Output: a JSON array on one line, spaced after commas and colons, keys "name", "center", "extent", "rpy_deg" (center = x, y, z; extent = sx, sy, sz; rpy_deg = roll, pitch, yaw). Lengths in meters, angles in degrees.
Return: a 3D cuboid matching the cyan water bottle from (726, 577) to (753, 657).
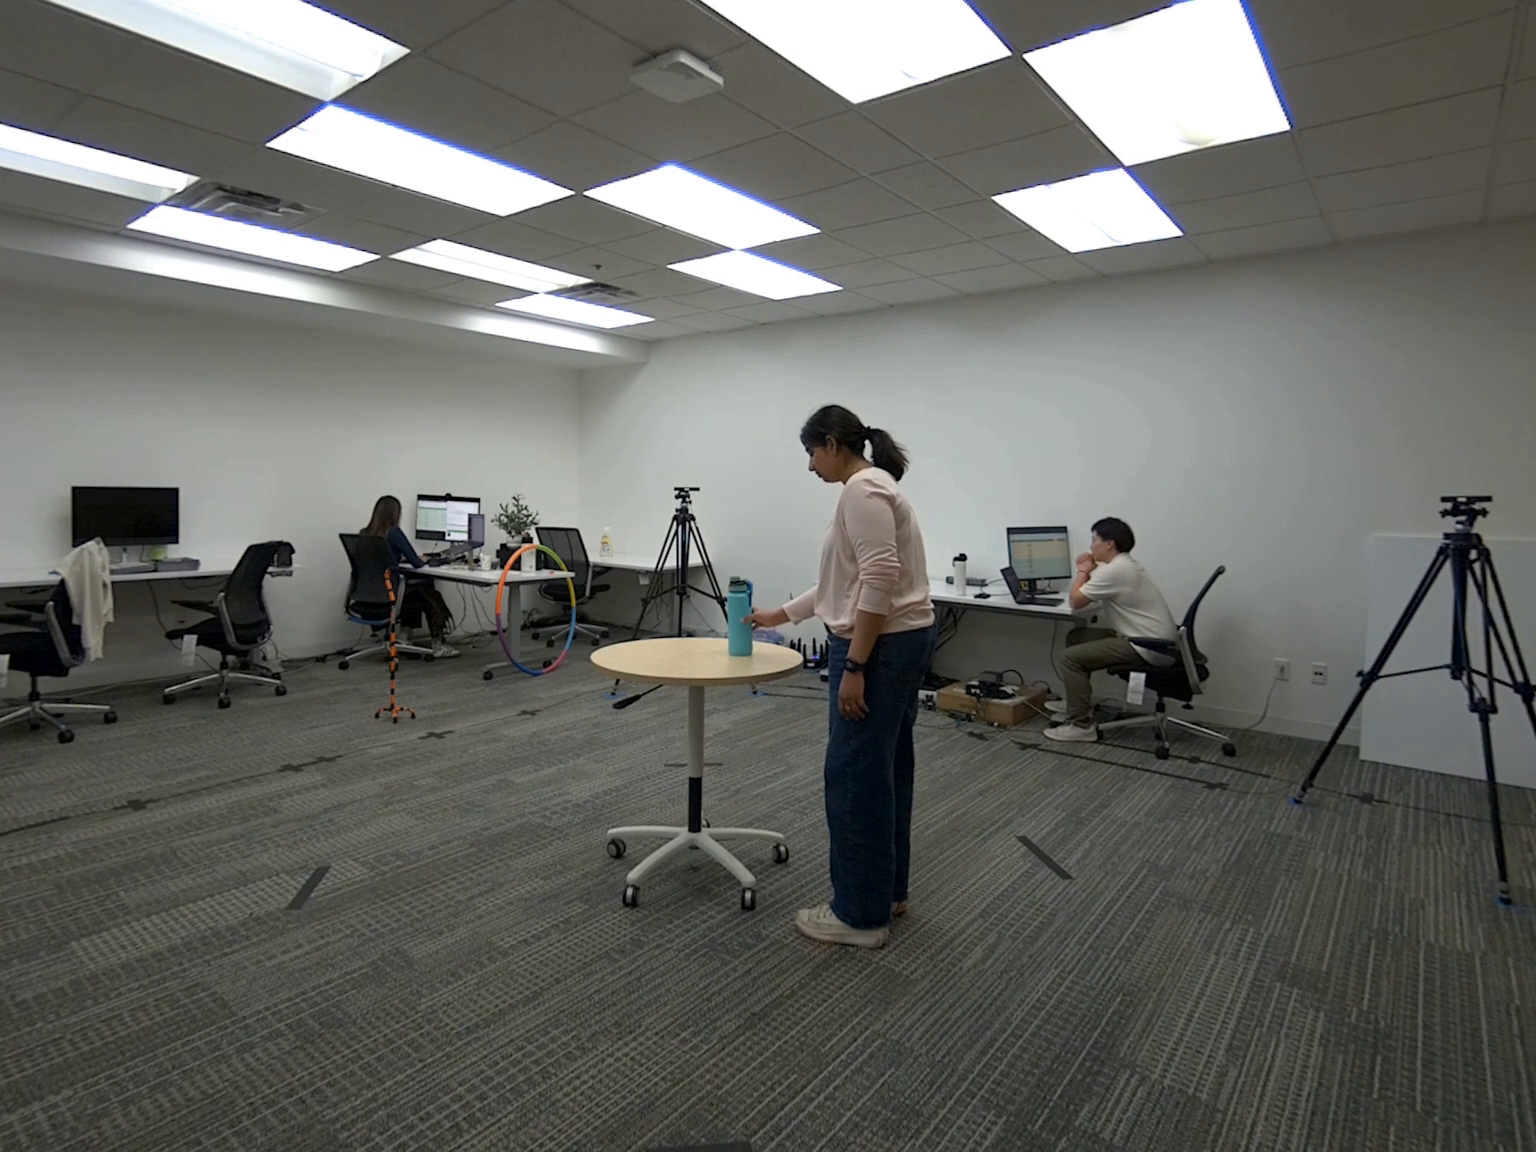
[{"name": "cyan water bottle", "center": [-0.110, 0.145, 3.102], "extent": [0.092, 0.282, 0.093], "rpy_deg": [1, 5, -2]}]
